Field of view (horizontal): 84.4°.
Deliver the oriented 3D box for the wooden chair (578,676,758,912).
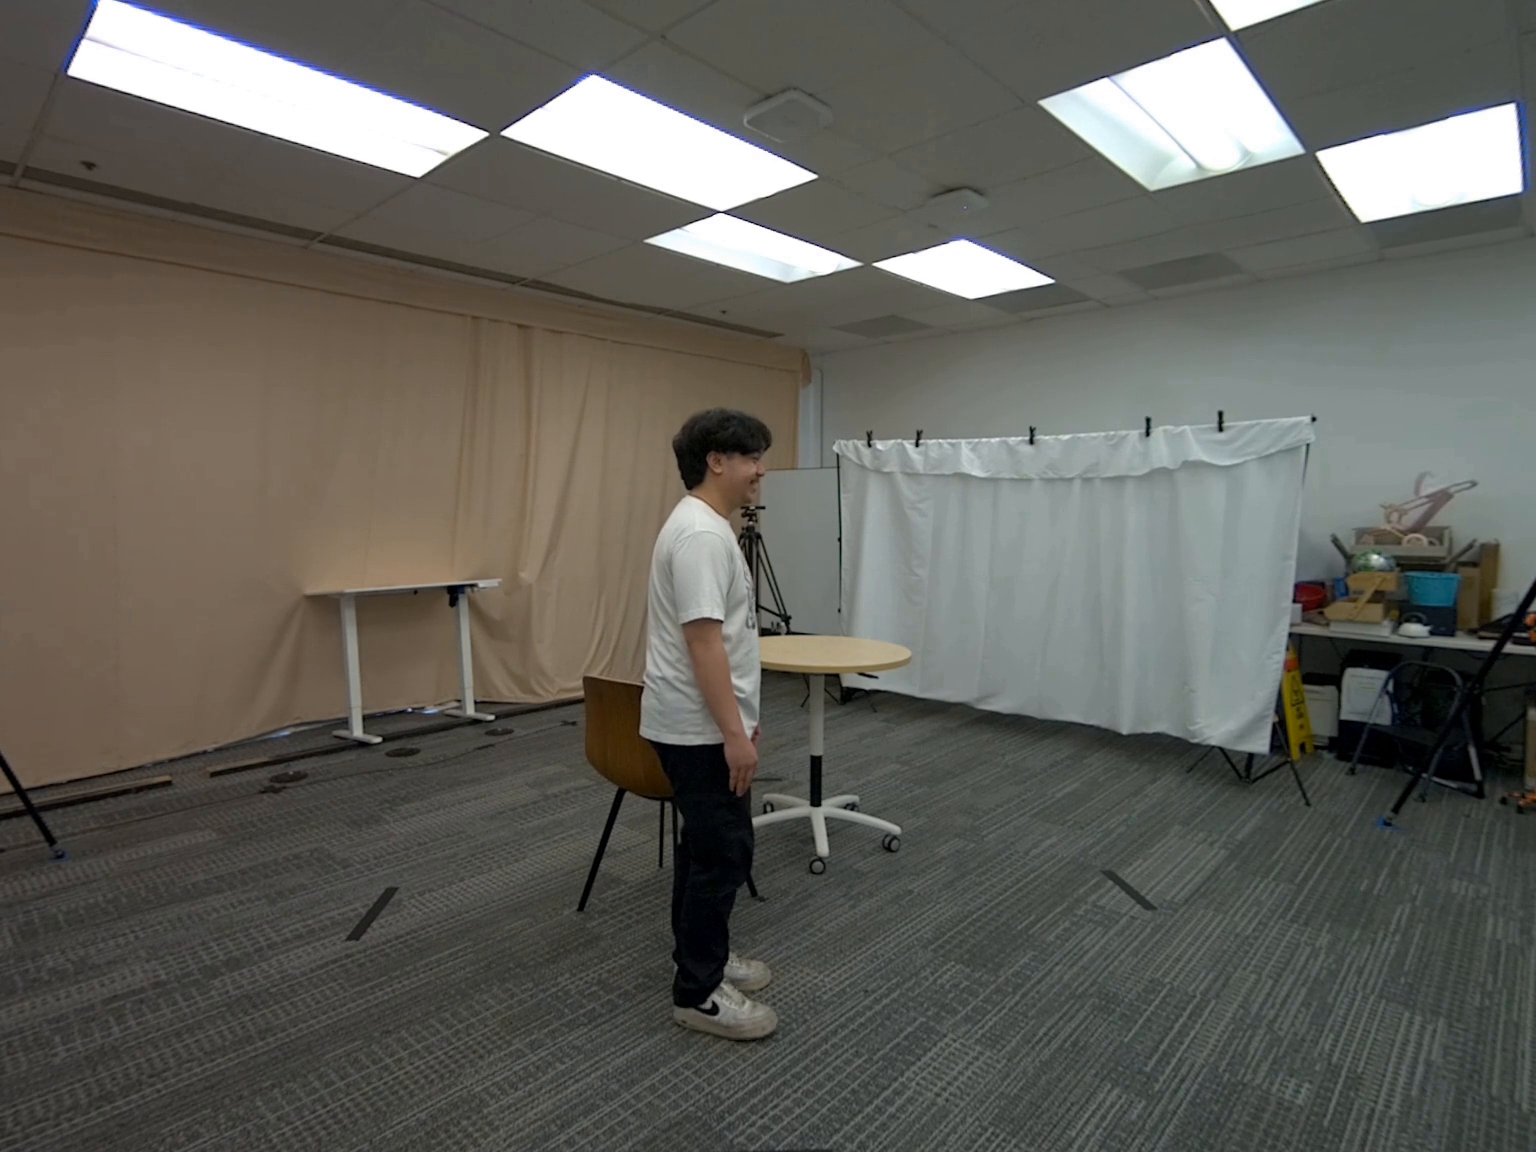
[{"bbox_3d":[-0.345,0.724,2.927,0.493,0.873,0.509,1,8,35],"label":"wooden chair"}]
